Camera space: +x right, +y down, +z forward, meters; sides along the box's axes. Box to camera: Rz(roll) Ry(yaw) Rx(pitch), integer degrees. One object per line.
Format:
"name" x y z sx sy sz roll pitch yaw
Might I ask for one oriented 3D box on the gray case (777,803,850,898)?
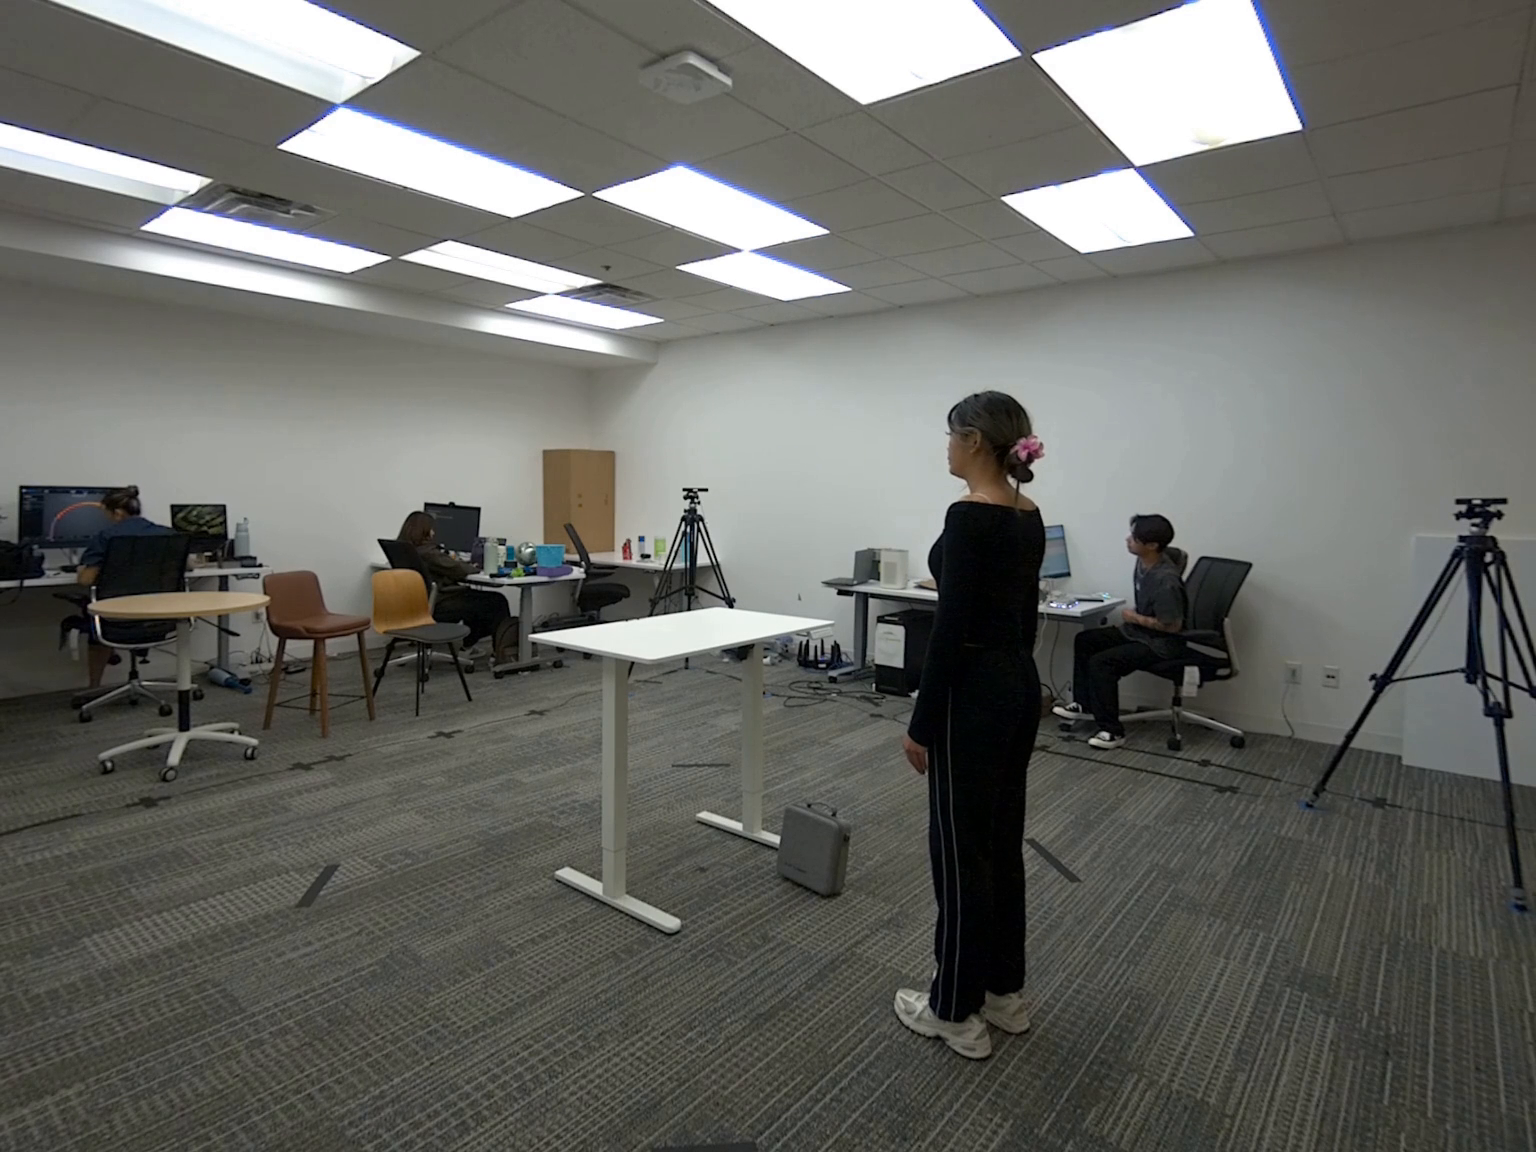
"gray case" 0.154 0.953 3.013 0.100 0.261 0.265 12 -5 -41
